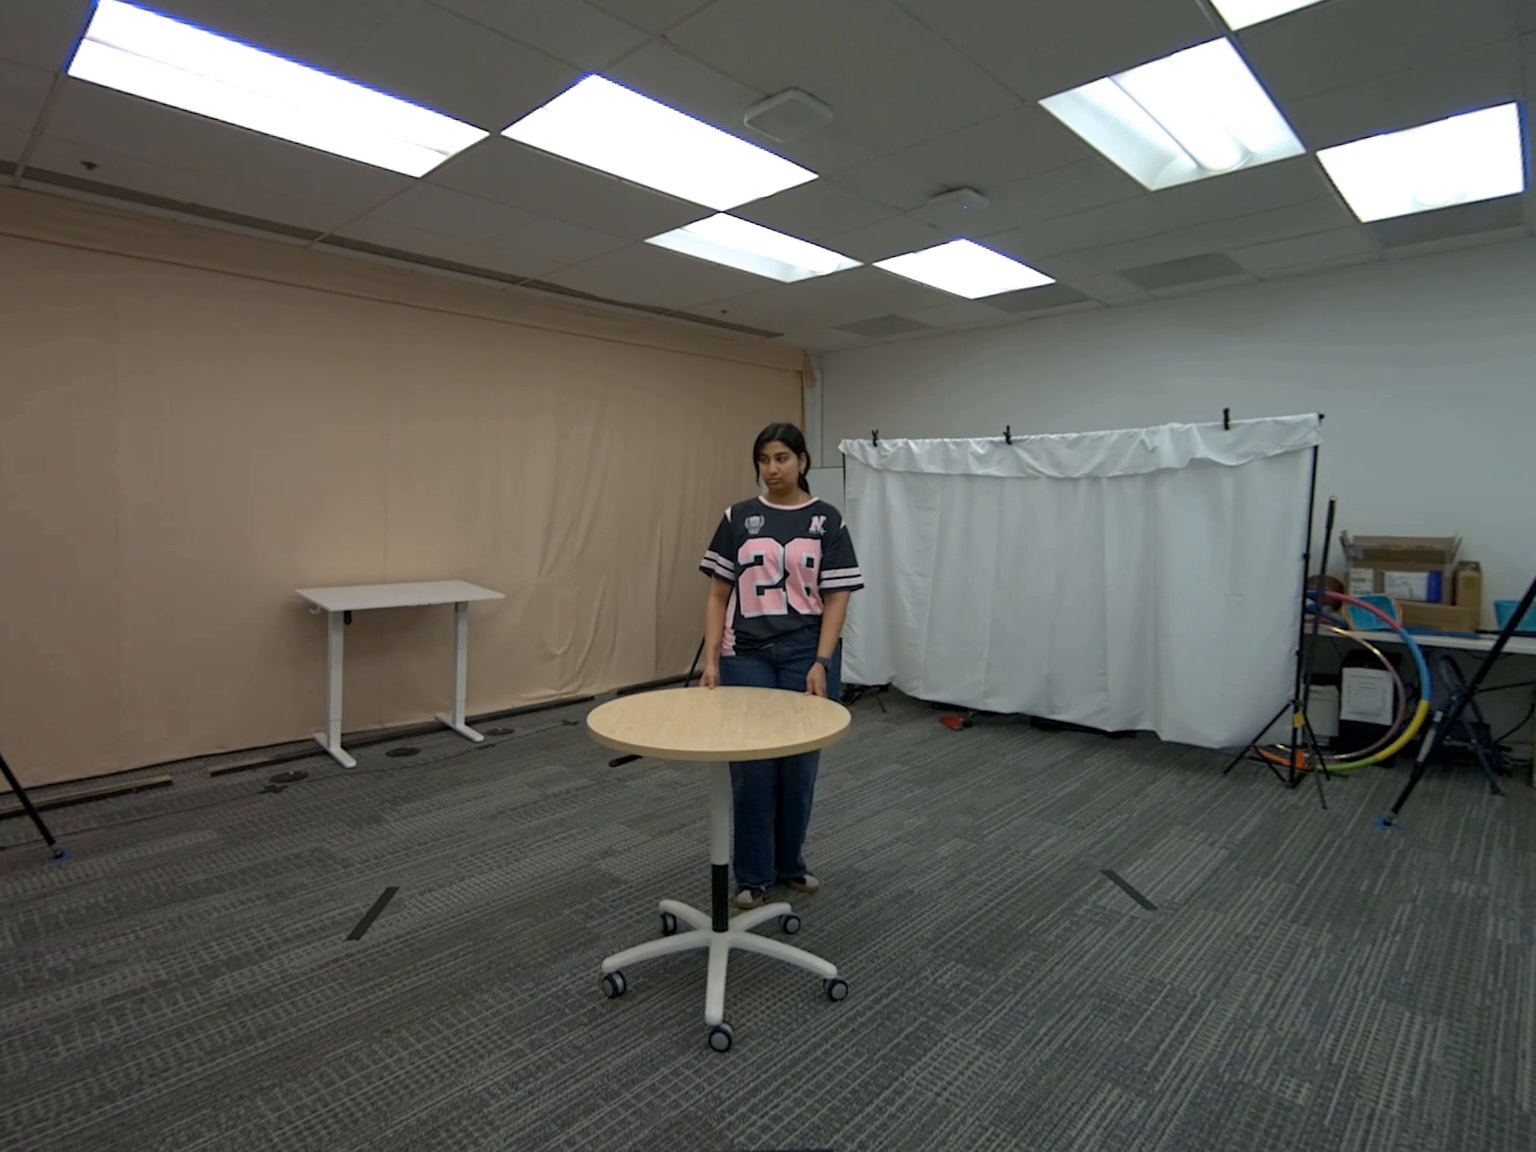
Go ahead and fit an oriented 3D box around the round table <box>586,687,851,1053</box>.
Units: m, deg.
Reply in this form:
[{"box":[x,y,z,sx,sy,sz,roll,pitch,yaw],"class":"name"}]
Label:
[{"box":[-0.124,0.790,2.487,0.784,0.785,0.788,-1,4,-2],"class":"round table"}]
